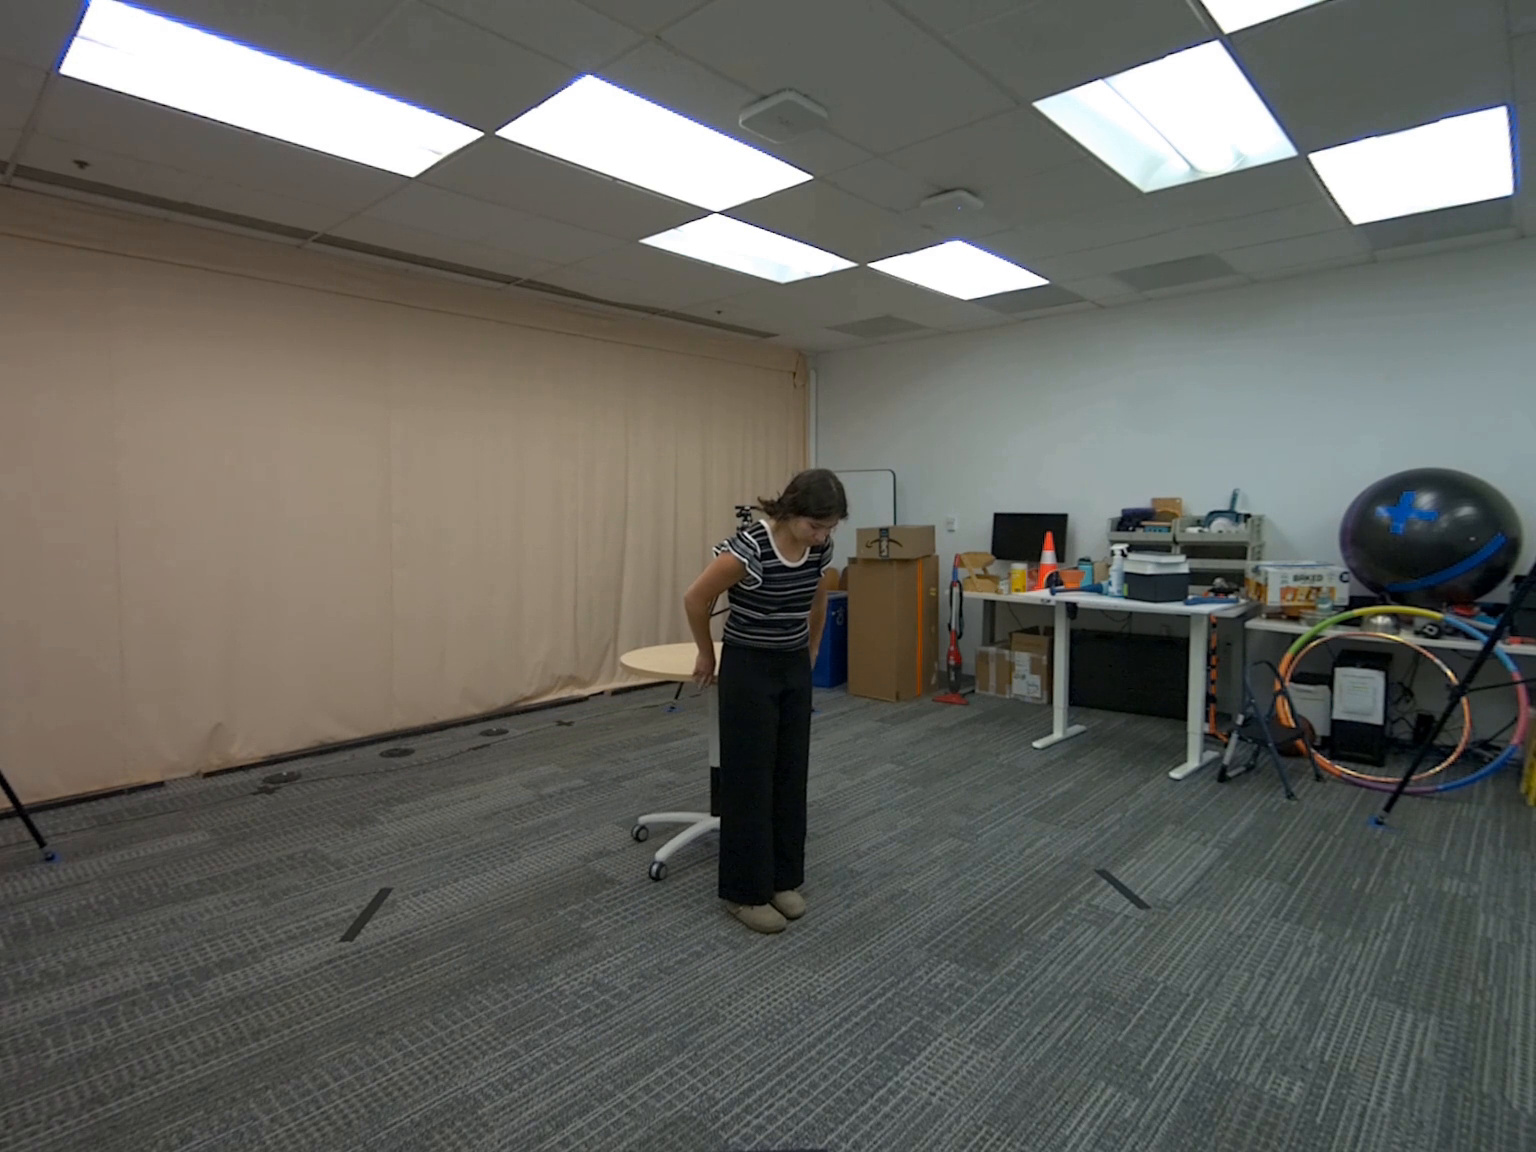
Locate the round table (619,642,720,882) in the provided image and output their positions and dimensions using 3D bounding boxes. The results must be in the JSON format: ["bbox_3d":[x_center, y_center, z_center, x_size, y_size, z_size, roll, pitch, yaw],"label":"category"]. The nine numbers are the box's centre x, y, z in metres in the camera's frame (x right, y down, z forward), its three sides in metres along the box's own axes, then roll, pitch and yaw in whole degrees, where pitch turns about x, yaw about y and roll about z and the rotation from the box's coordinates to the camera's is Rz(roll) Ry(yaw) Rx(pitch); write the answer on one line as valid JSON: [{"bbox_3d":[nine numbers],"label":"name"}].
[{"bbox_3d":[-0.206,0.715,3.383,0.784,0.785,0.787,0,3,-2],"label":"round table"}]
